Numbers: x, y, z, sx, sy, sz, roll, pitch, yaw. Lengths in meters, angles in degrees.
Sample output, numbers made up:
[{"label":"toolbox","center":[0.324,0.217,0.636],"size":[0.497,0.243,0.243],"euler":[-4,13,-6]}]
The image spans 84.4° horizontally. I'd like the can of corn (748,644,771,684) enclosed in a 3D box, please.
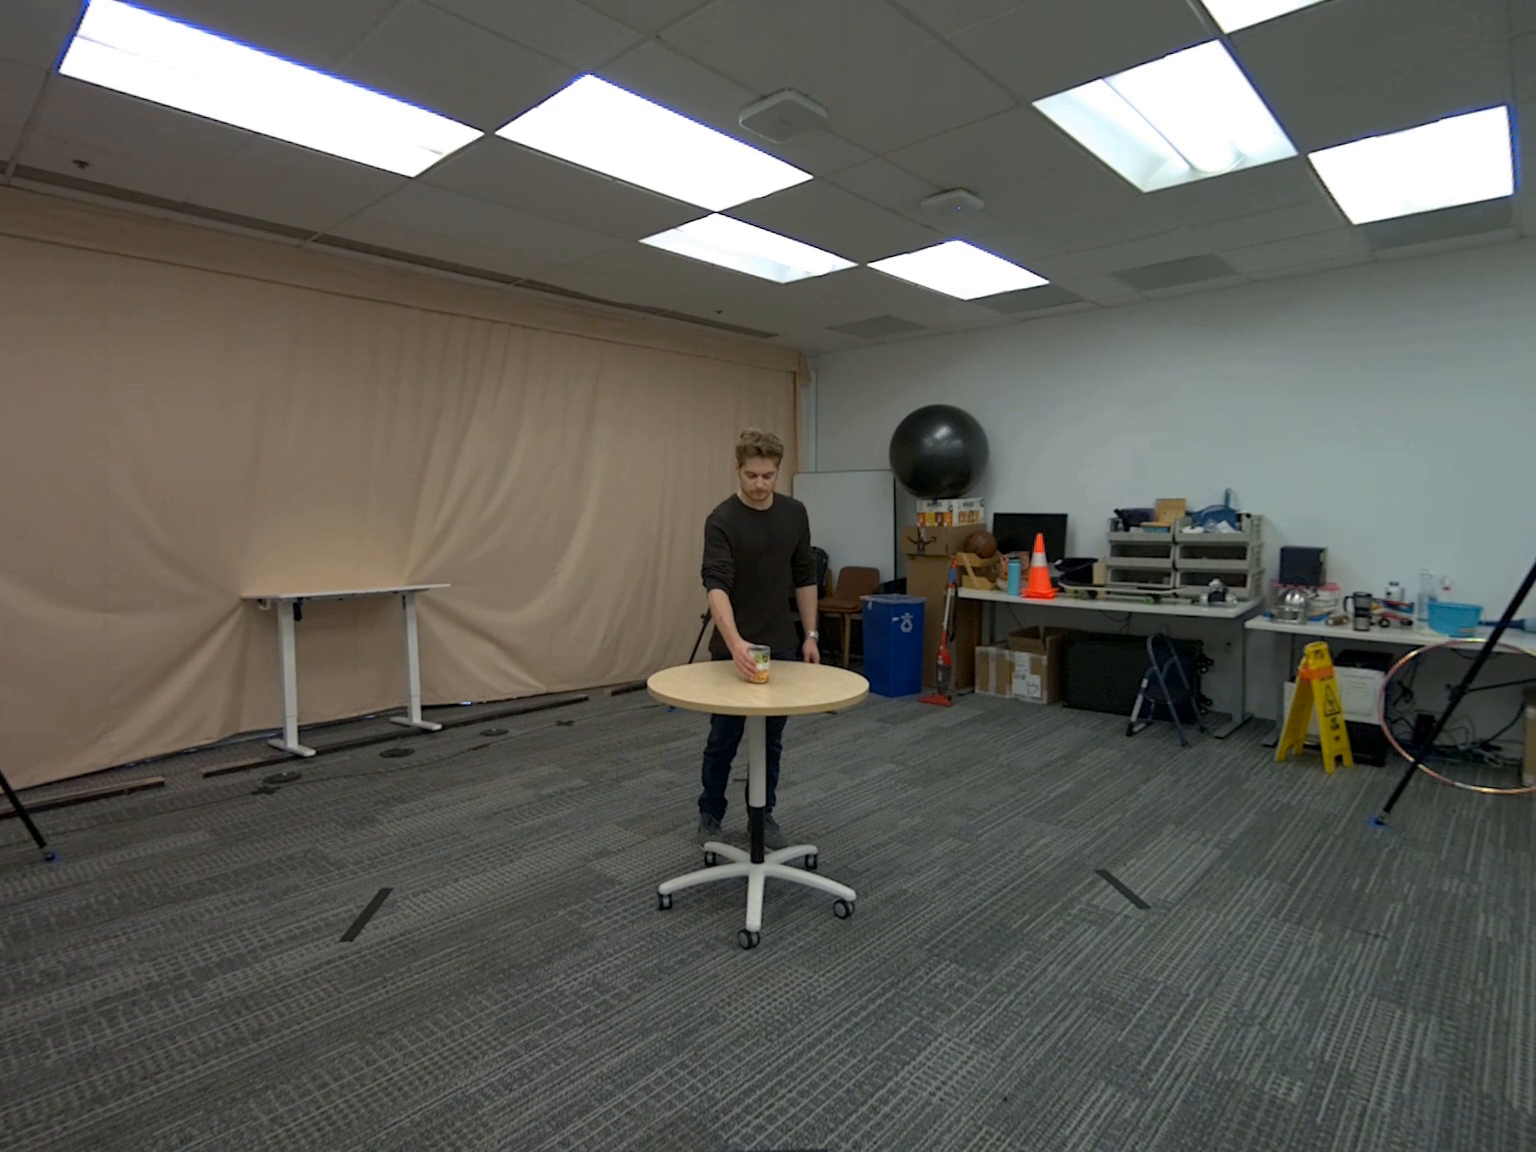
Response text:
[{"label":"can of corn","center":[-0.030,0.301,2.898],"size":[0.074,0.111,0.074],"euler":[3,4,-2]}]
